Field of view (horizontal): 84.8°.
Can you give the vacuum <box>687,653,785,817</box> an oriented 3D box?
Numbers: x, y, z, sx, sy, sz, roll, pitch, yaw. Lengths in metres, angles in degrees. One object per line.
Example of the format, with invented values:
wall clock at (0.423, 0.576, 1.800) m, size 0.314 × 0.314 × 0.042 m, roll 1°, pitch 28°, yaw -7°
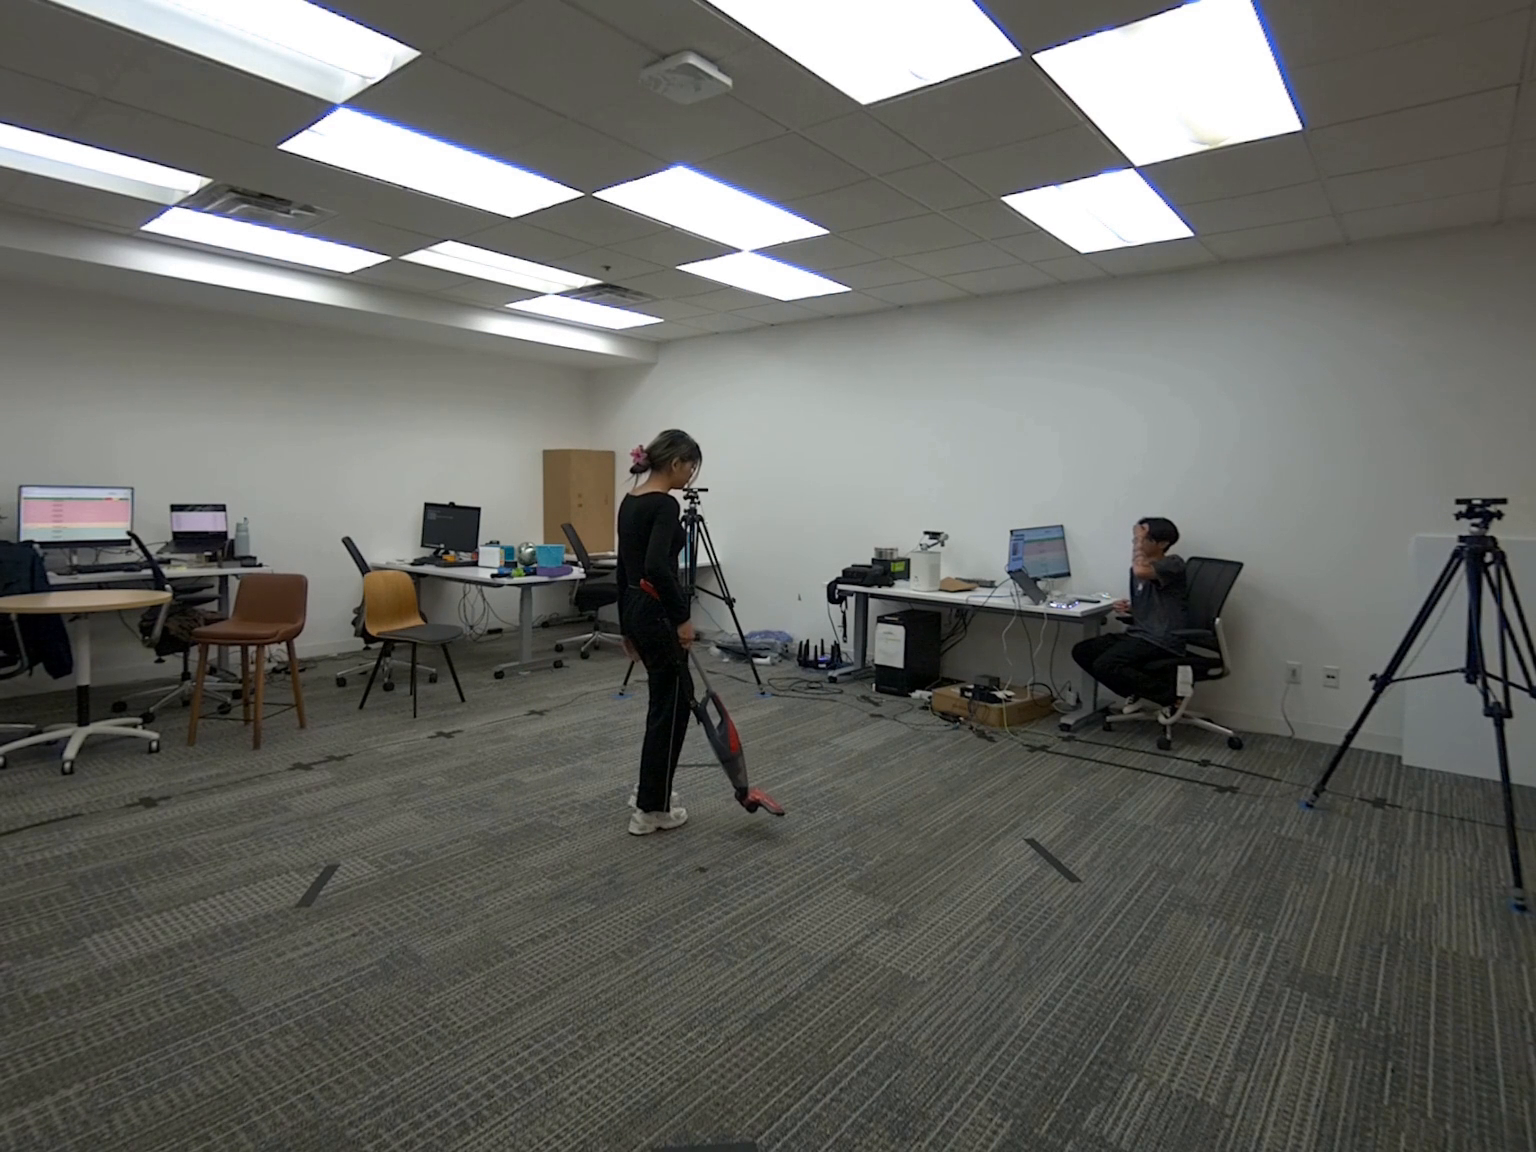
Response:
vacuum at (-0.252, 0.486, 3.331) m, size 0.143 × 1.028 × 0.259 m, roll -29°, pitch 16°, yaw -17°
